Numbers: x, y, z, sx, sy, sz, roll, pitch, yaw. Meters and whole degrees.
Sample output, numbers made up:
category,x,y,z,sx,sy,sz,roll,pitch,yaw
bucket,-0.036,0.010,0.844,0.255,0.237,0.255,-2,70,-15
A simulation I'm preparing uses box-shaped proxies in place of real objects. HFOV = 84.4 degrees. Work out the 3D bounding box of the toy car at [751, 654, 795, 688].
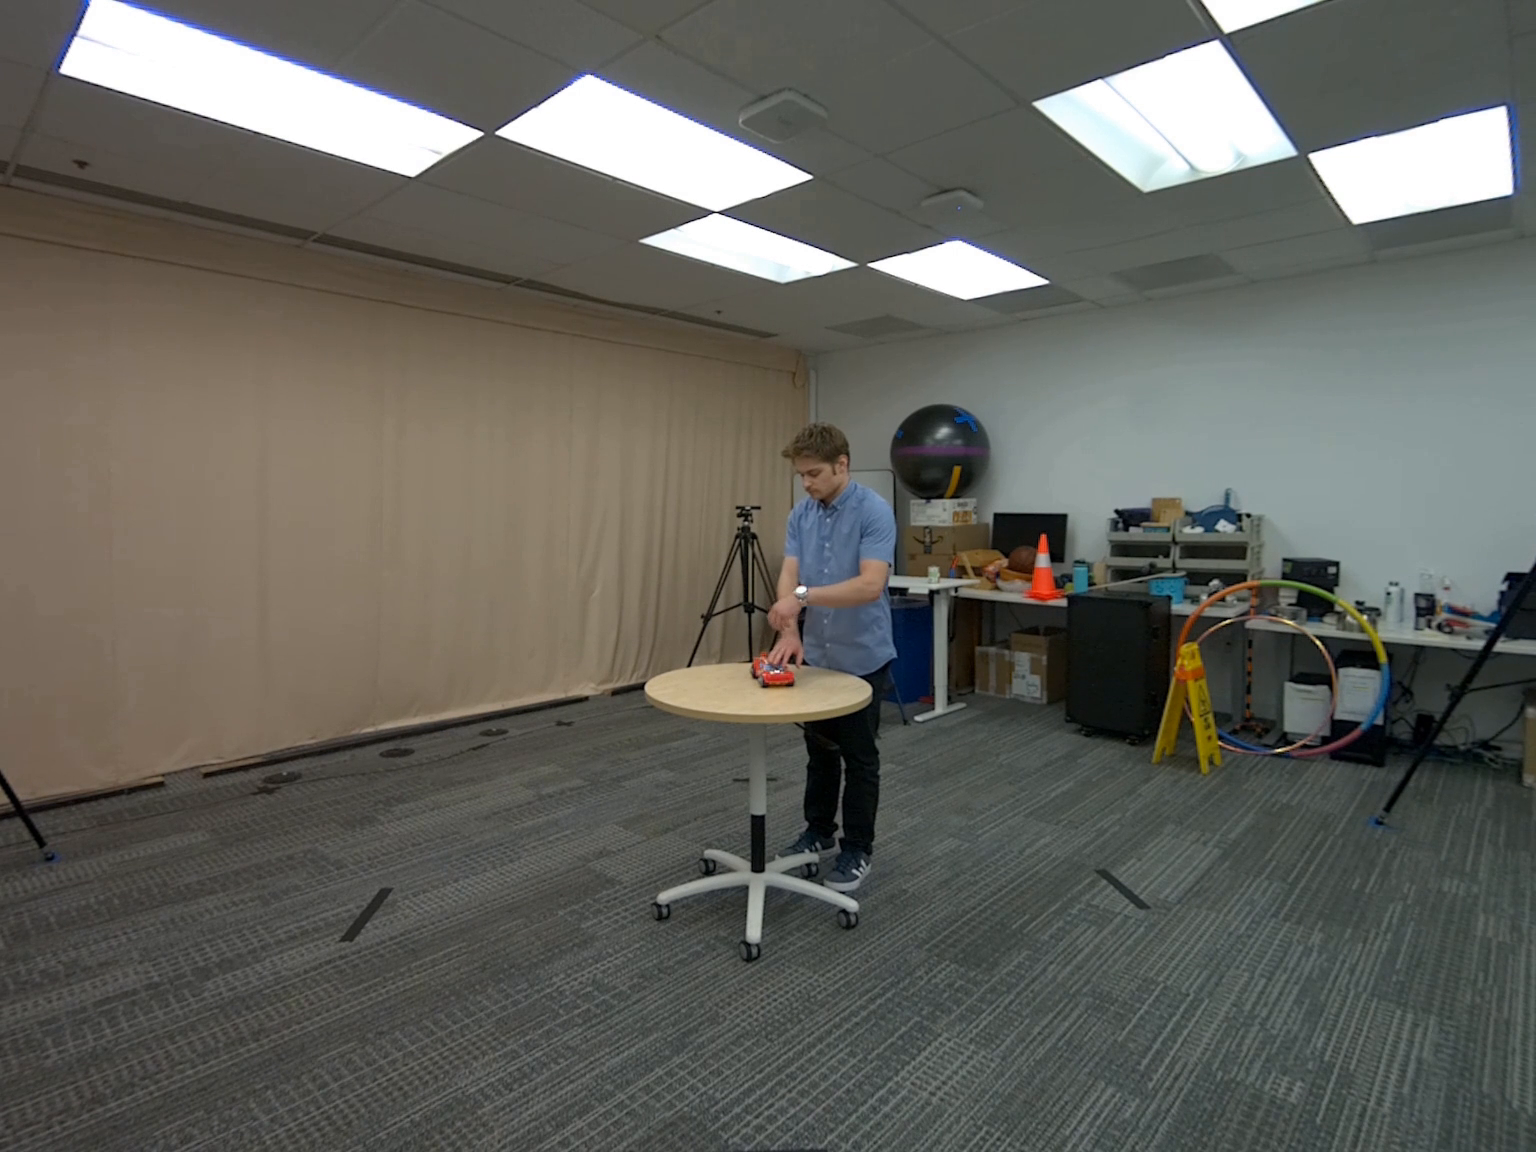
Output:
category,x,y,z,sx,sy,sz,roll,pitch,yaw
toy car,0.009,0.333,2.923,0.128,0.082,0.260,-1,16,-13
